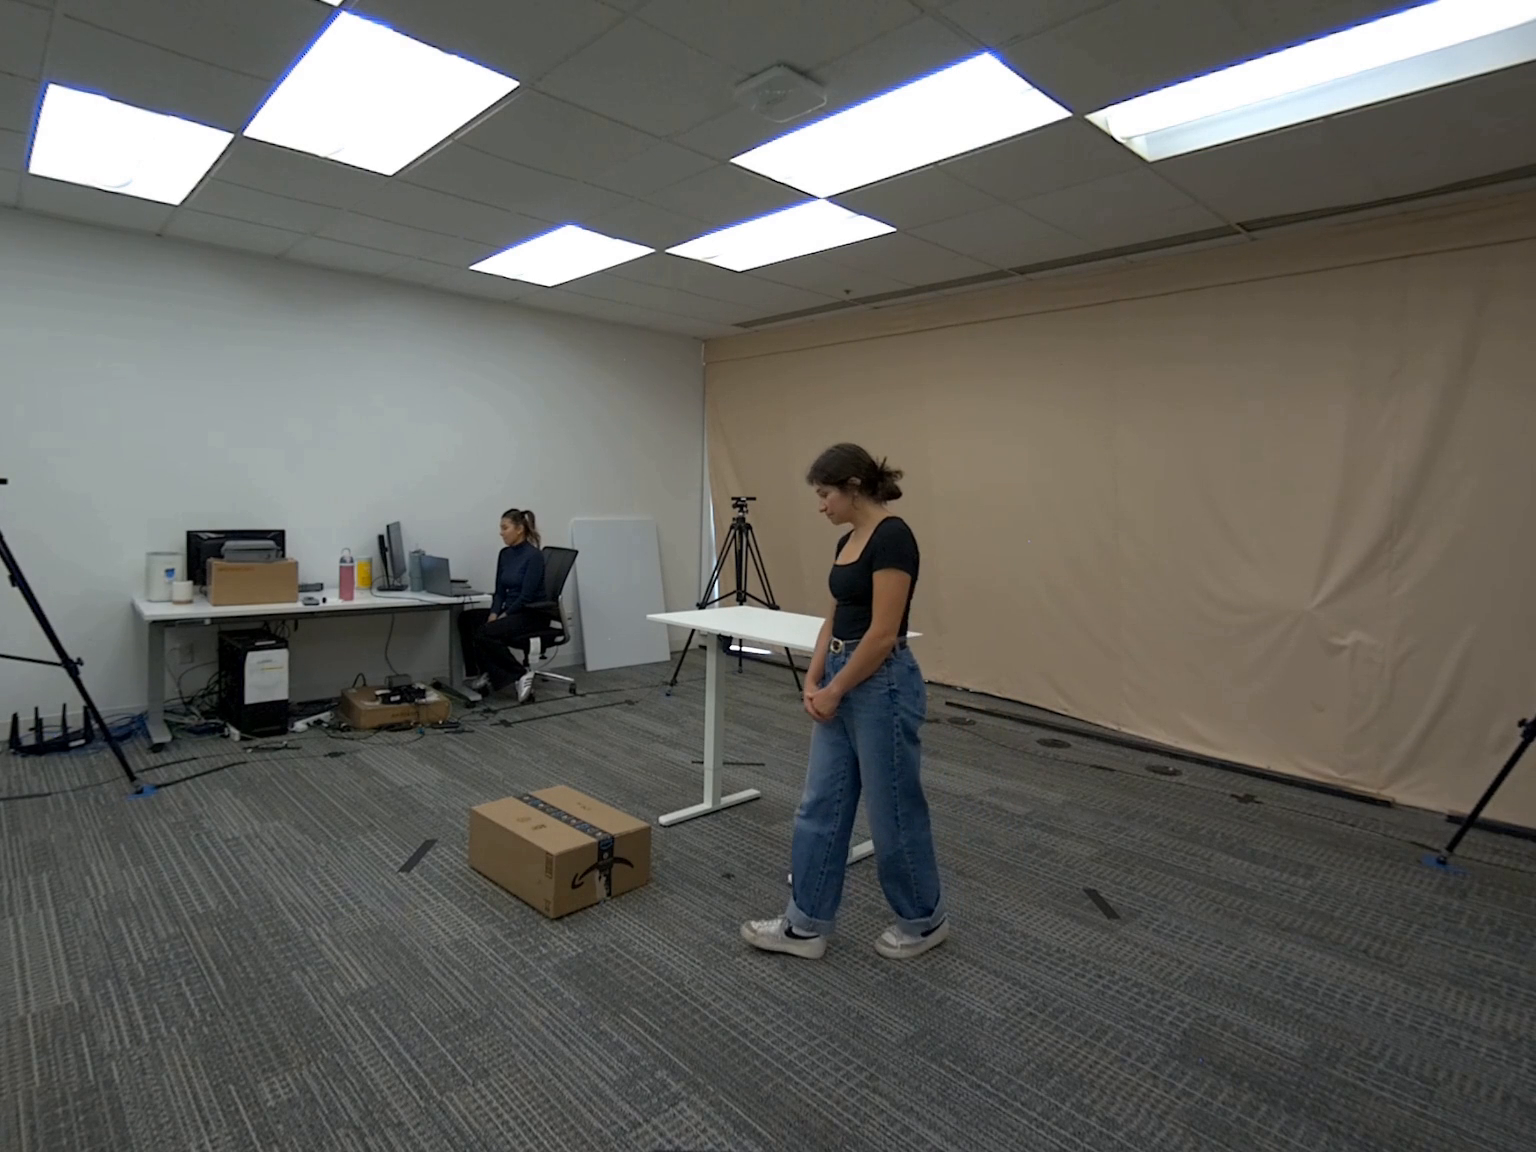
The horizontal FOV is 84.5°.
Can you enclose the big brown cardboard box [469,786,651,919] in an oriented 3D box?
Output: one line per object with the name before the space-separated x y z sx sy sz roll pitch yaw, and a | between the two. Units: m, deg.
big brown cardboard box | -0.775 0.984 3.074 0.604 0.233 0.408 5 5 44
